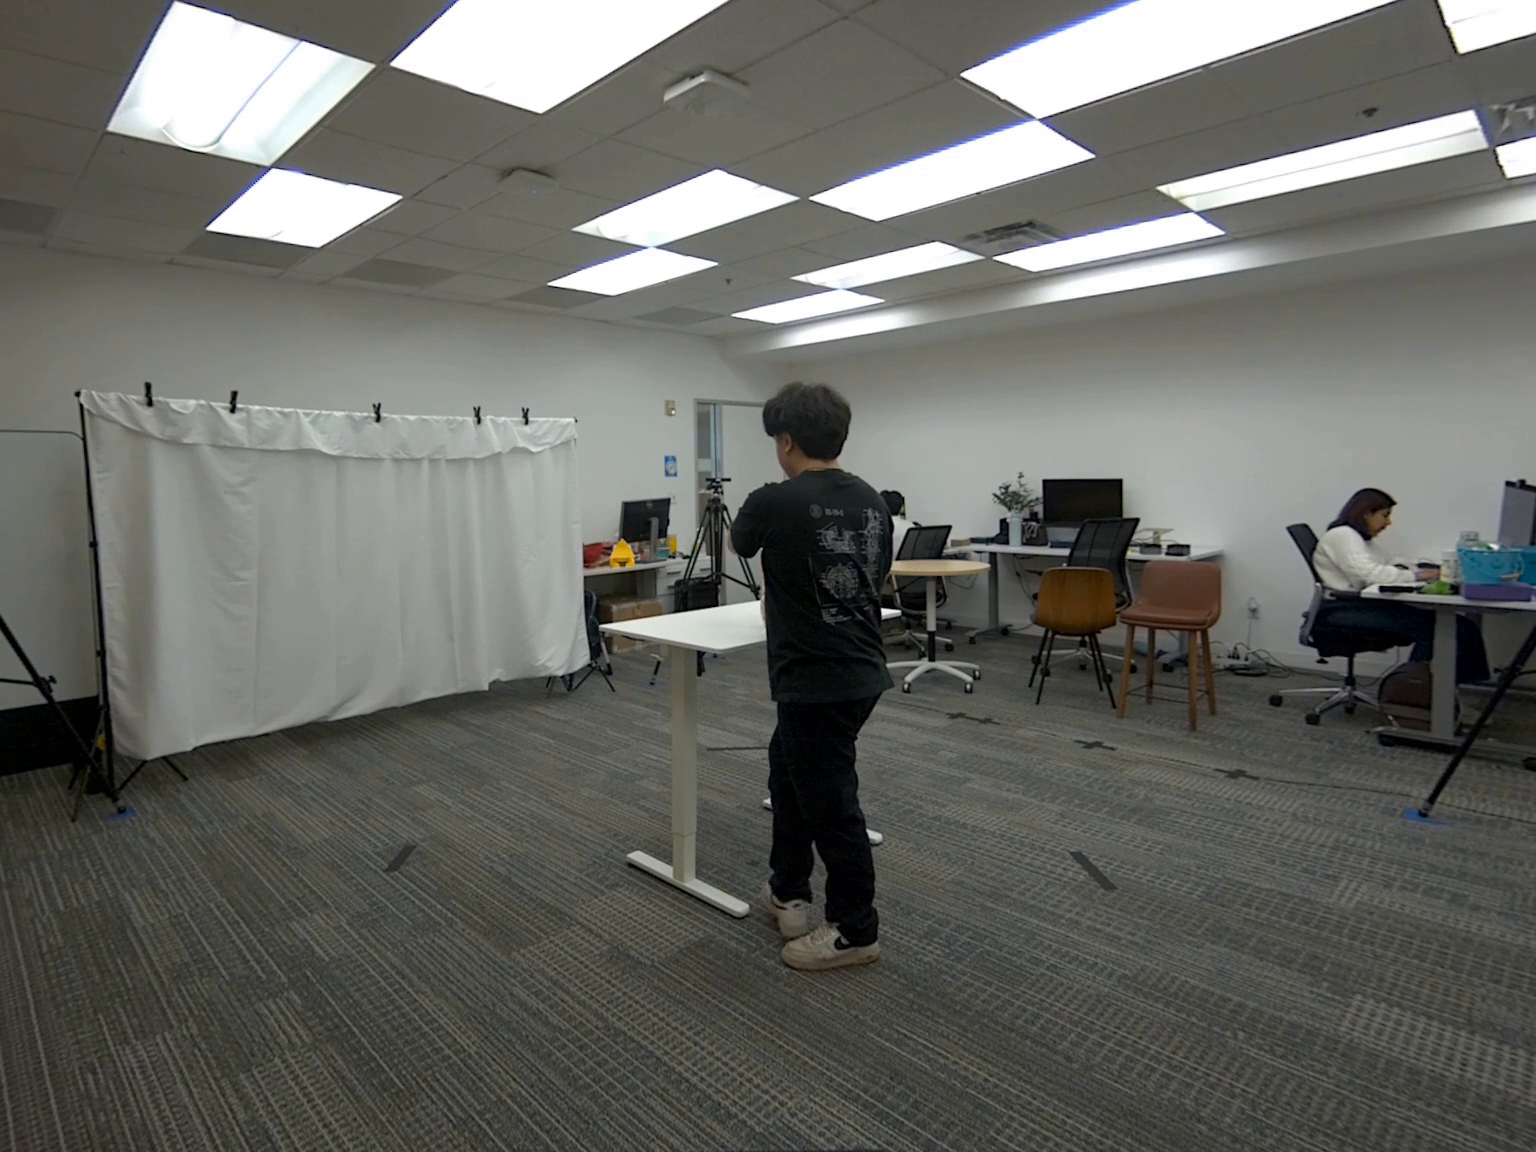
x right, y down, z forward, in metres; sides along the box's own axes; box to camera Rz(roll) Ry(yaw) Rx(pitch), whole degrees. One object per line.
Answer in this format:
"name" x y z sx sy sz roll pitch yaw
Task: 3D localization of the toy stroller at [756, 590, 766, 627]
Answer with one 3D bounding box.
"toy stroller" 0.109 -0.058 3.031 0.280 0.526 0.349 -2 20 -6
